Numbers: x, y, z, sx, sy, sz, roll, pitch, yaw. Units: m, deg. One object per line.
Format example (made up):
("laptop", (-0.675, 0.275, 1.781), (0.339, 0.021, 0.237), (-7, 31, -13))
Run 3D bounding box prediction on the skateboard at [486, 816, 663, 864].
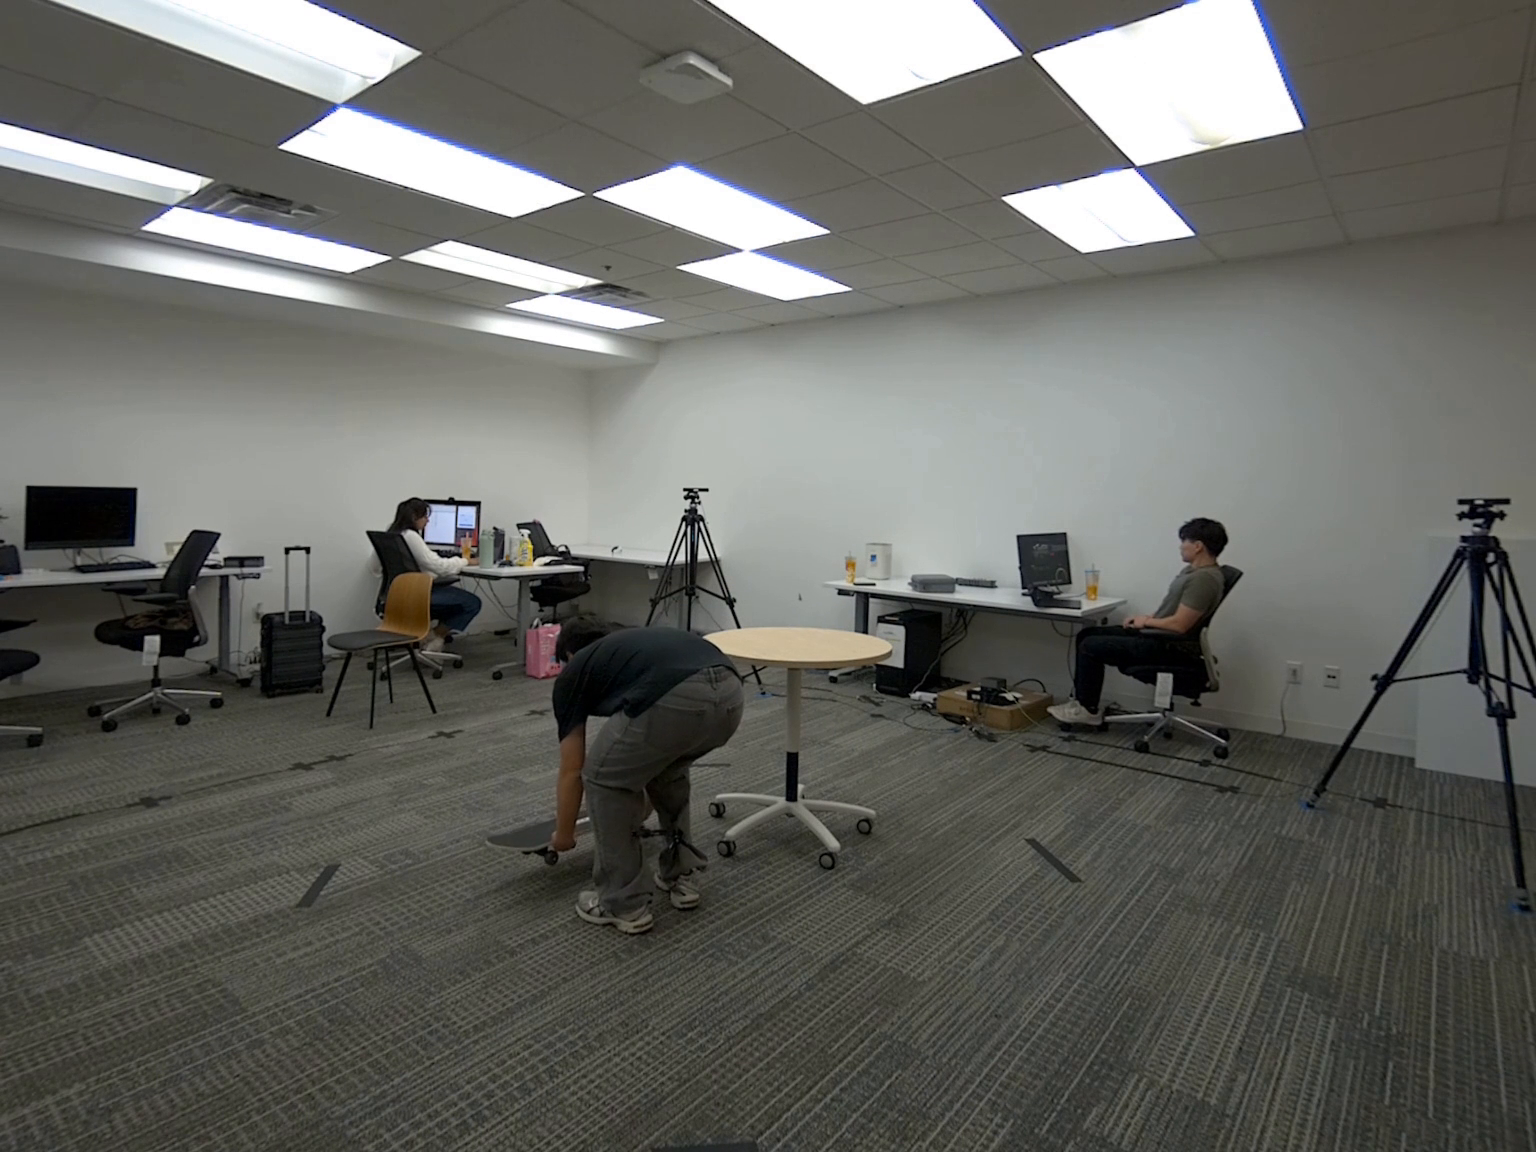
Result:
("skateboard", (-0.700, 0.943, 3.152), (0.200, 0.110, 0.761), (1, 3, 43))
